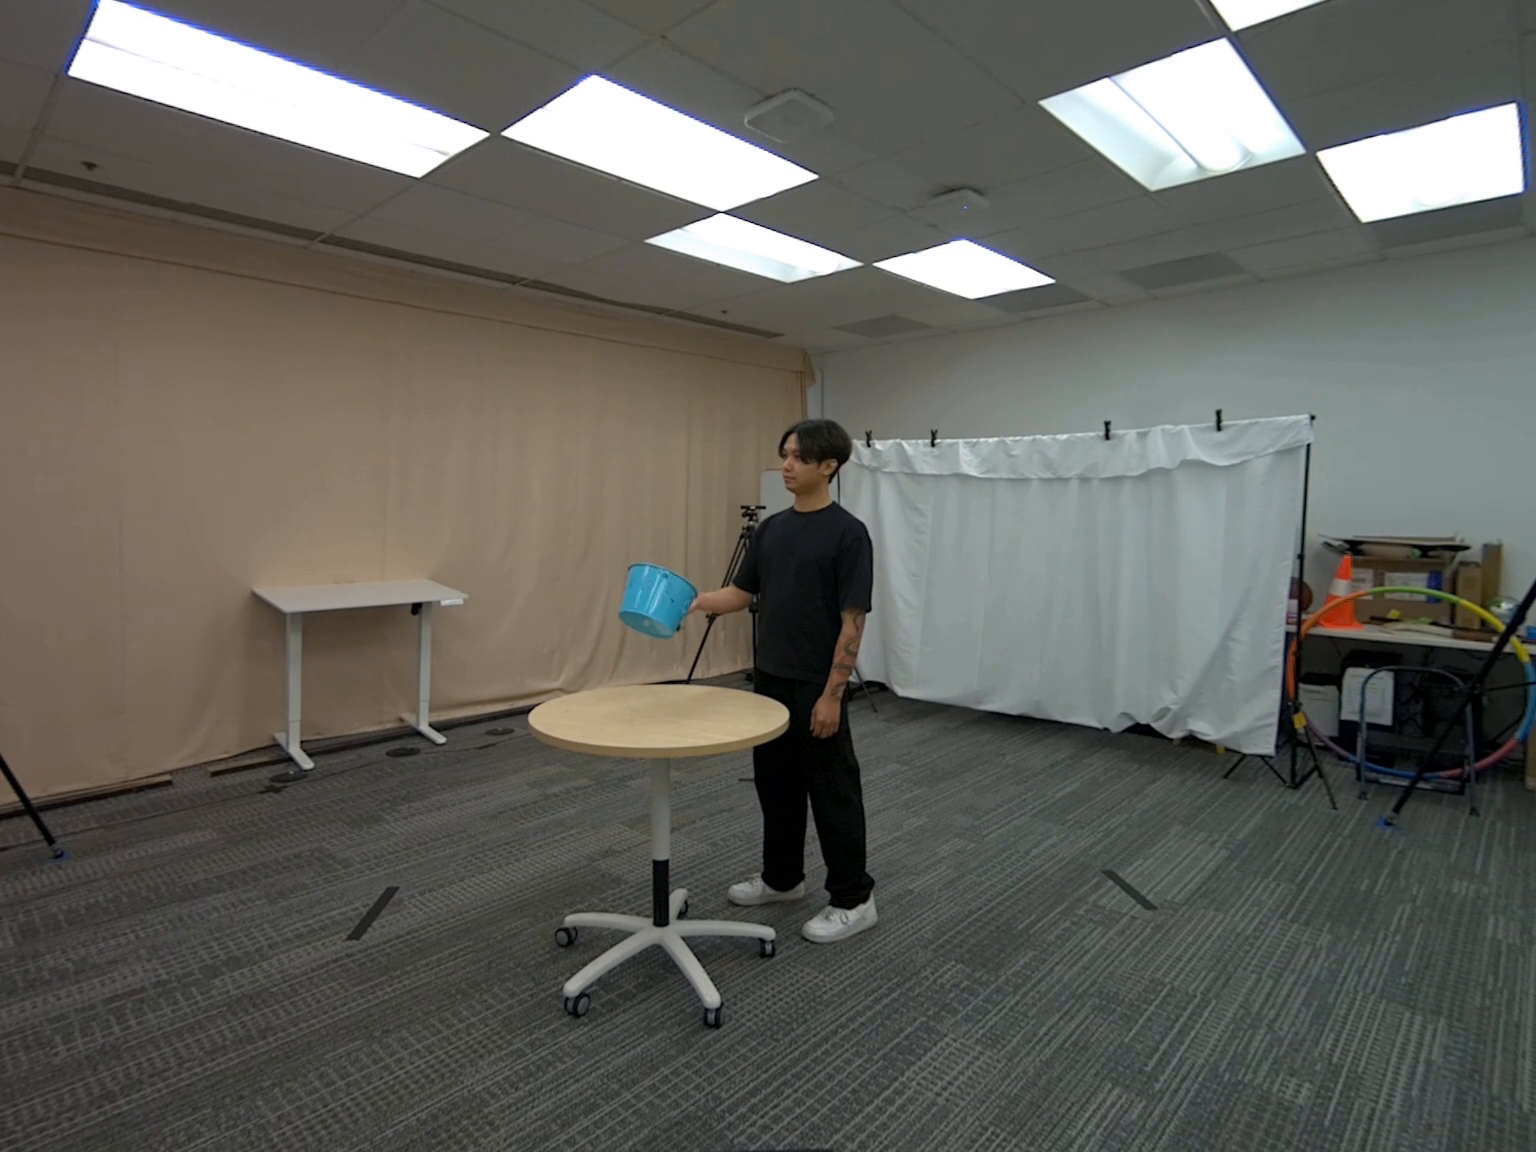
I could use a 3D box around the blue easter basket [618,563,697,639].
[{"bbox_3d":[-0.338,0.088,2.601,0.246,0.156,0.240,17,-25,6],"label":"blue easter basket"}]
